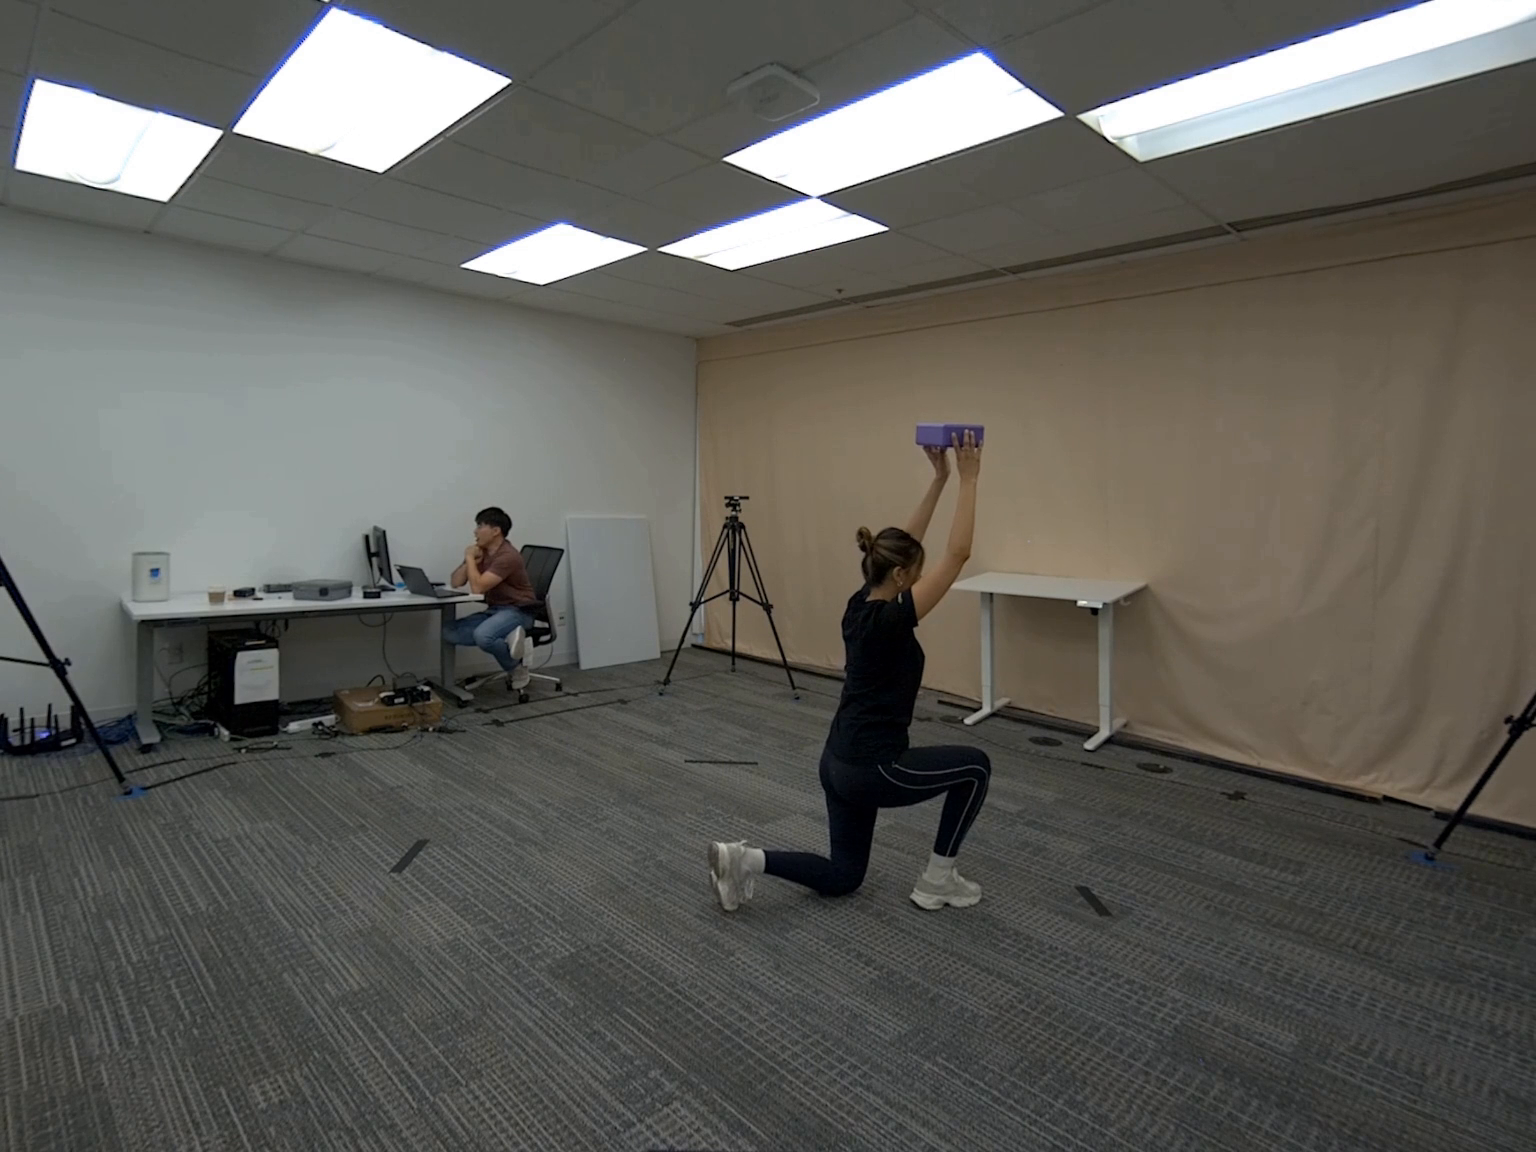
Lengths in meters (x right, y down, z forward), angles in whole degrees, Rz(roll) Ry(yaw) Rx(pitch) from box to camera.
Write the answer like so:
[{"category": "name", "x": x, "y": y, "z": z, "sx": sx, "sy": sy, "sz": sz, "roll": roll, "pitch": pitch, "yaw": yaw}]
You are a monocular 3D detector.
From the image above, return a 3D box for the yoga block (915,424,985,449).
[{"category": "yoga block", "x": 0.621, "y": -0.494, "z": 2.884, "sx": 0.148, "sy": 0.076, "sz": 0.232, "roll": 0, "pitch": 10, "yaw": -10}]
